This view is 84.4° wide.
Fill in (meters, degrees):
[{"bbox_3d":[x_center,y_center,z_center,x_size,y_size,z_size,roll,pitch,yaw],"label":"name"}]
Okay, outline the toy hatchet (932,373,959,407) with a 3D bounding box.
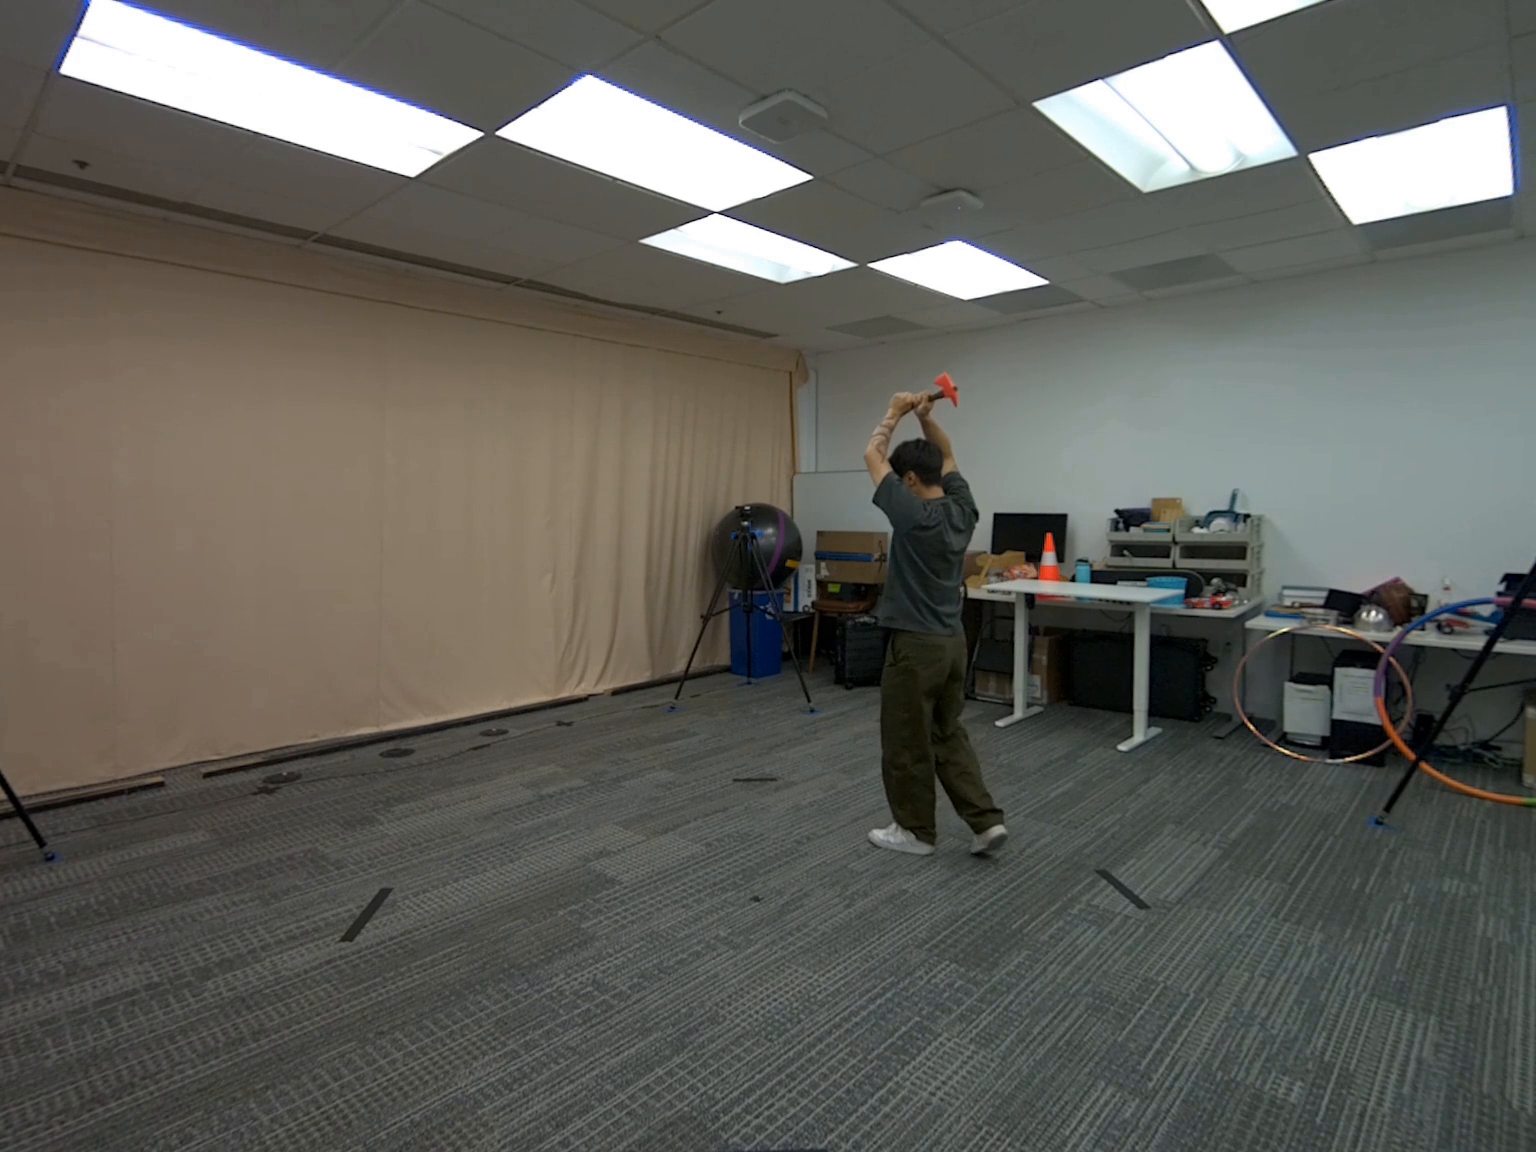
[{"bbox_3d":[0.618,-0.730,3.315,0.279,0.129,0.029,10,30,41],"label":"toy hatchet"}]
